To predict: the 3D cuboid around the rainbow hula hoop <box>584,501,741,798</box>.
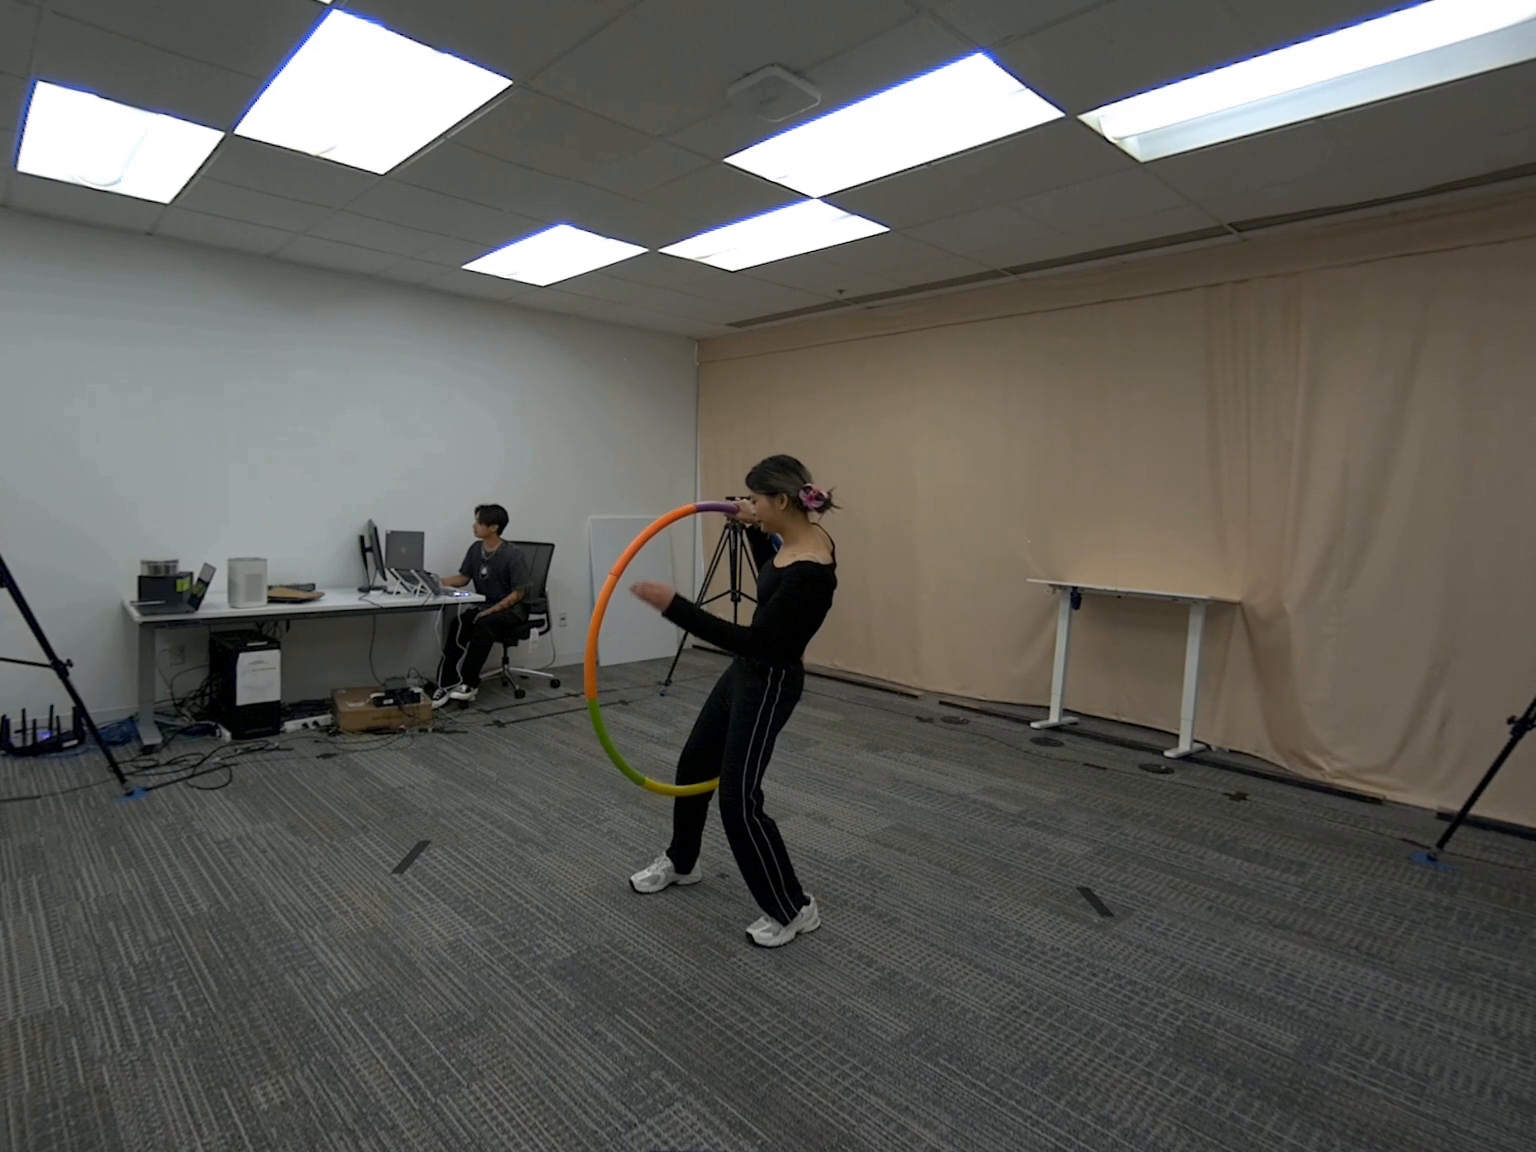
[{"bbox_3d":[-0.195,0.242,2.821,0.956,0.975,0.036,-3,8,-44],"label":"rainbow hula hoop"}]
